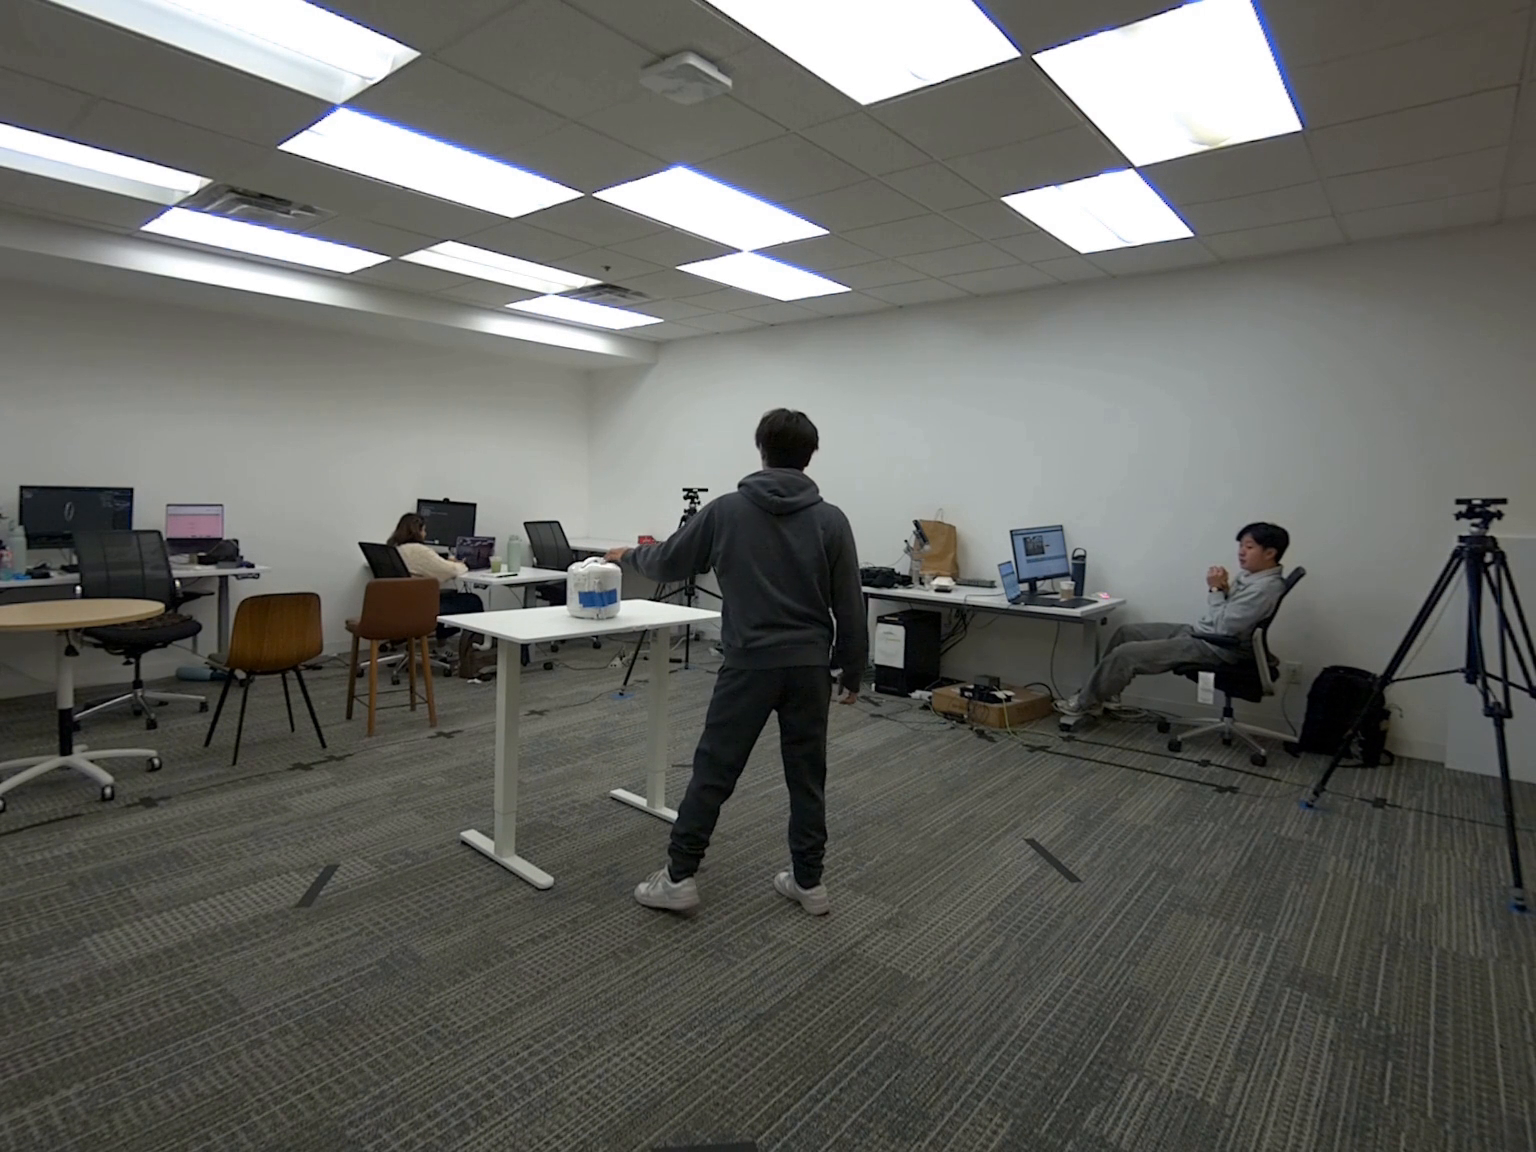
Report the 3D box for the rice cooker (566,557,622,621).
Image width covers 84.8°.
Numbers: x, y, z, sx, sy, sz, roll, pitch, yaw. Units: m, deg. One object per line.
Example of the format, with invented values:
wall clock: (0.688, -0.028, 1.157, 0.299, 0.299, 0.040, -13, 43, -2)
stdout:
rice cooker: (-0.698, 0.041, 3.343, 0.223, 0.232, 0.216, 5, 4, 21)
